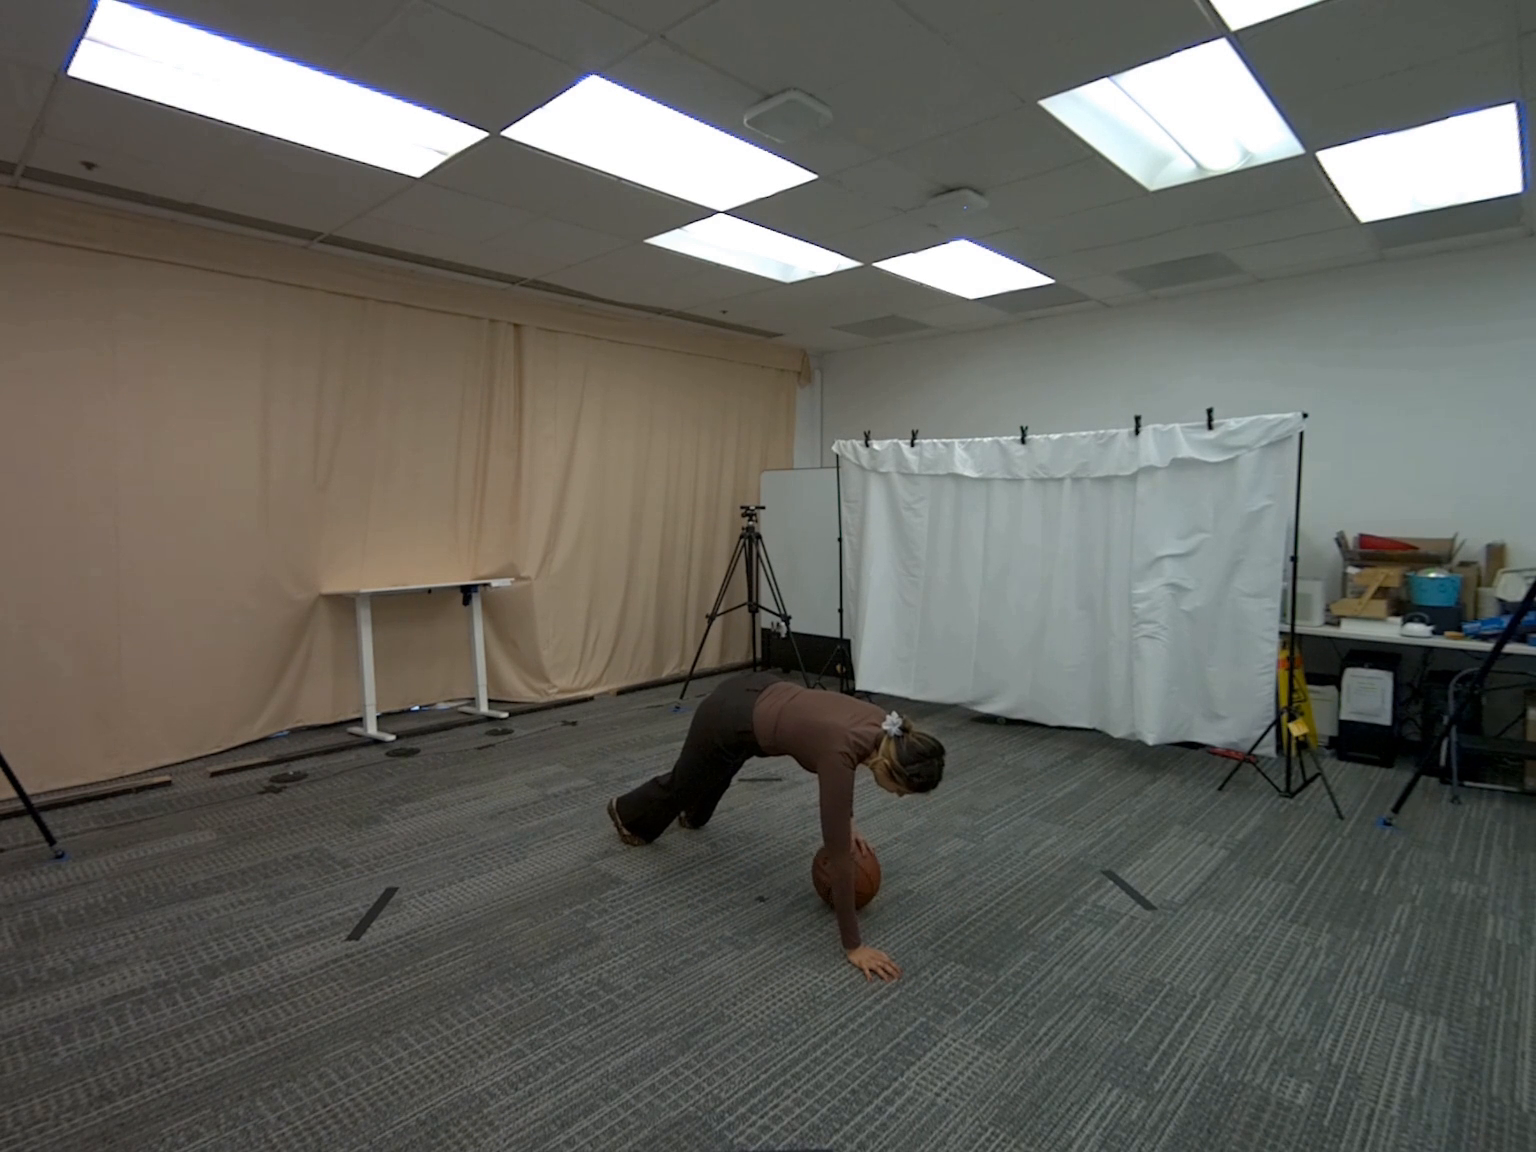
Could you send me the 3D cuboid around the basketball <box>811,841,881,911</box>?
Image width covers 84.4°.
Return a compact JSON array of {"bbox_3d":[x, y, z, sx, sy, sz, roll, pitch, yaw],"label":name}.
[{"bbox_3d":[0.291,1.027,2.929,0.236,0.235,0.237,0,4,-2],"label":"basketball"}]
